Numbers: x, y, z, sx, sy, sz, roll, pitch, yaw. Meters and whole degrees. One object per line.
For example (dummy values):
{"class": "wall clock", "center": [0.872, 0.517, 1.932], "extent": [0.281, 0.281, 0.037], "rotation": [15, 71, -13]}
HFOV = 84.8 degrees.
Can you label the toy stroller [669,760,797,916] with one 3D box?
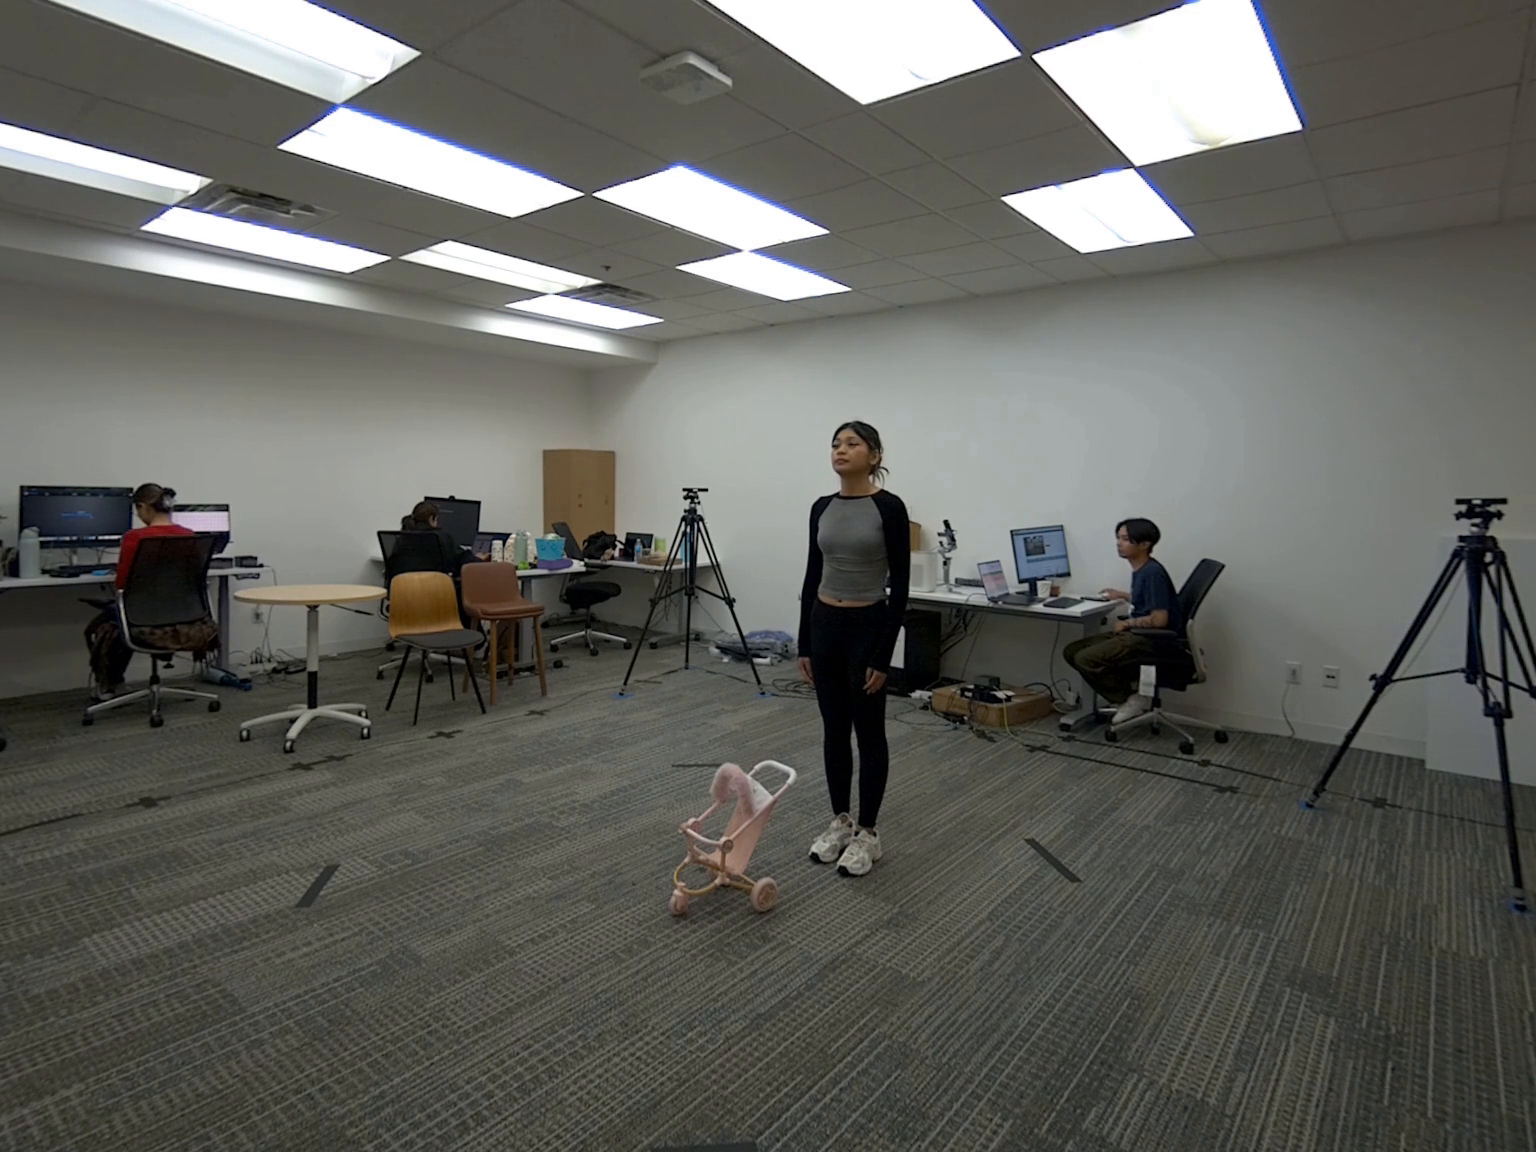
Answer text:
{"class": "toy stroller", "center": [-0.141, 0.870, 2.865], "extent": [0.329, 0.537, 0.290], "rotation": [19, -6, -32]}
